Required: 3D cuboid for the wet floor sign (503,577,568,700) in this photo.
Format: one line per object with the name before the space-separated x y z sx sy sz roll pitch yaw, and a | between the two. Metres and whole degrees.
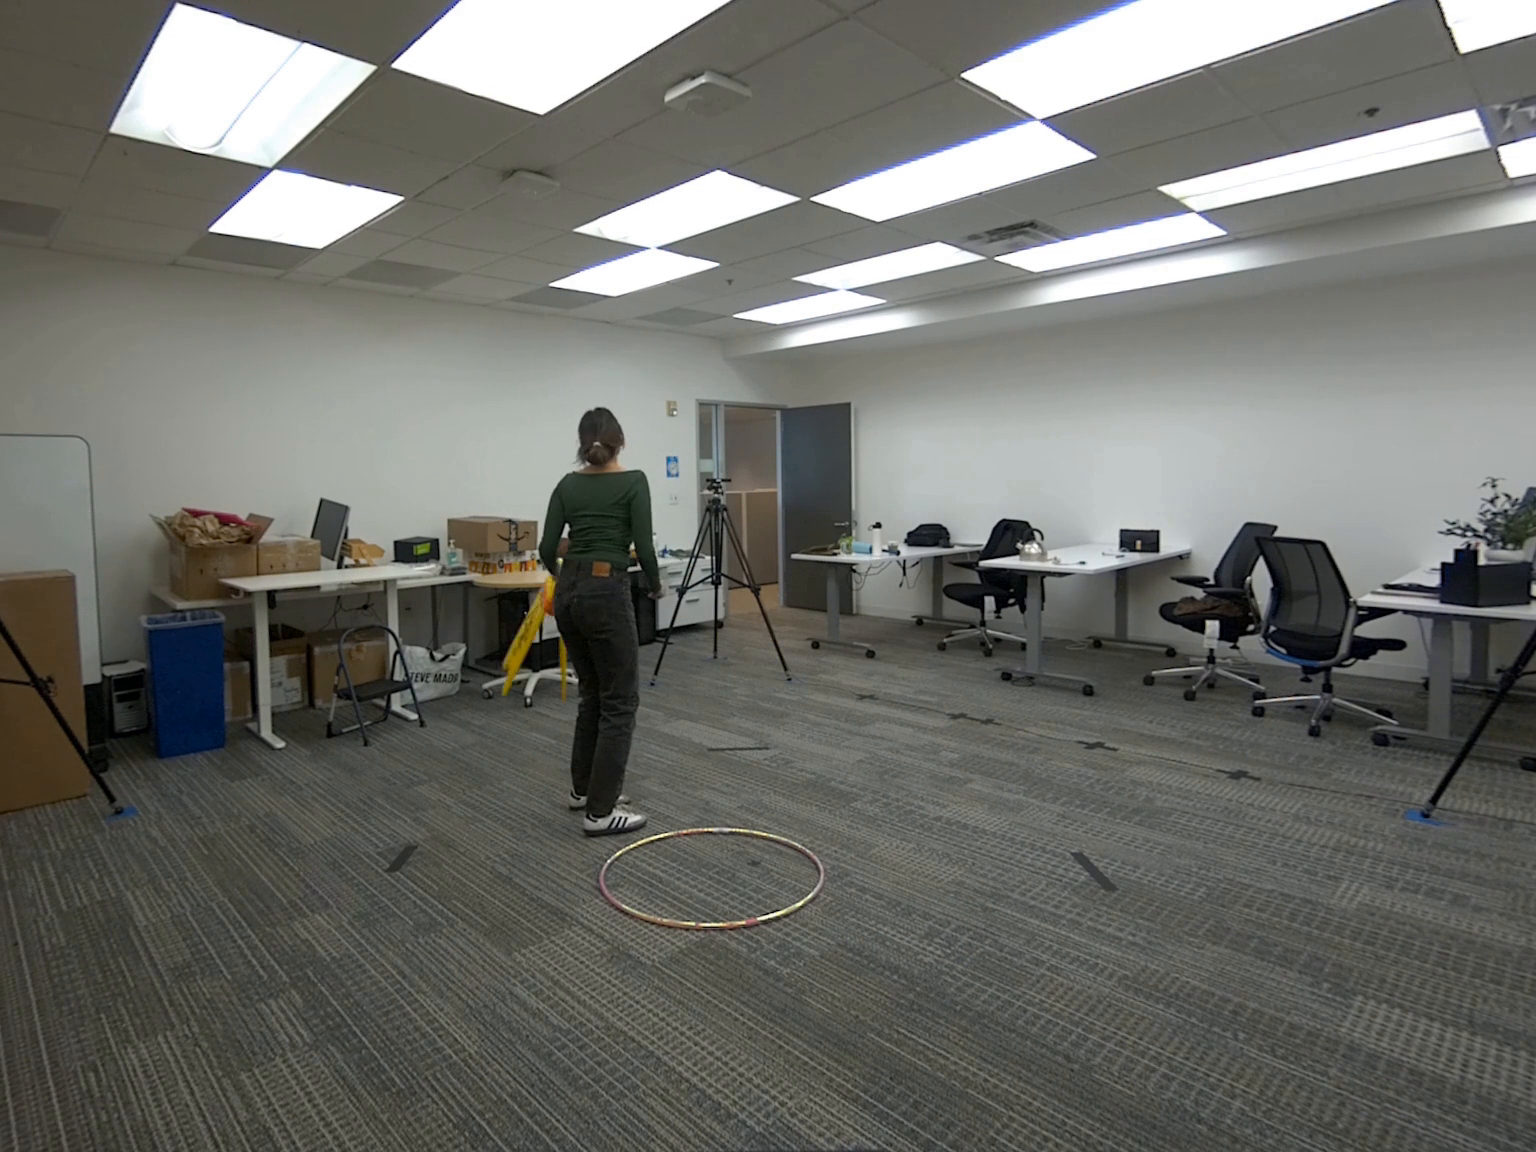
wet floor sign | -1.004 0.228 3.970 0.284 0.638 0.291 10 27 -20
